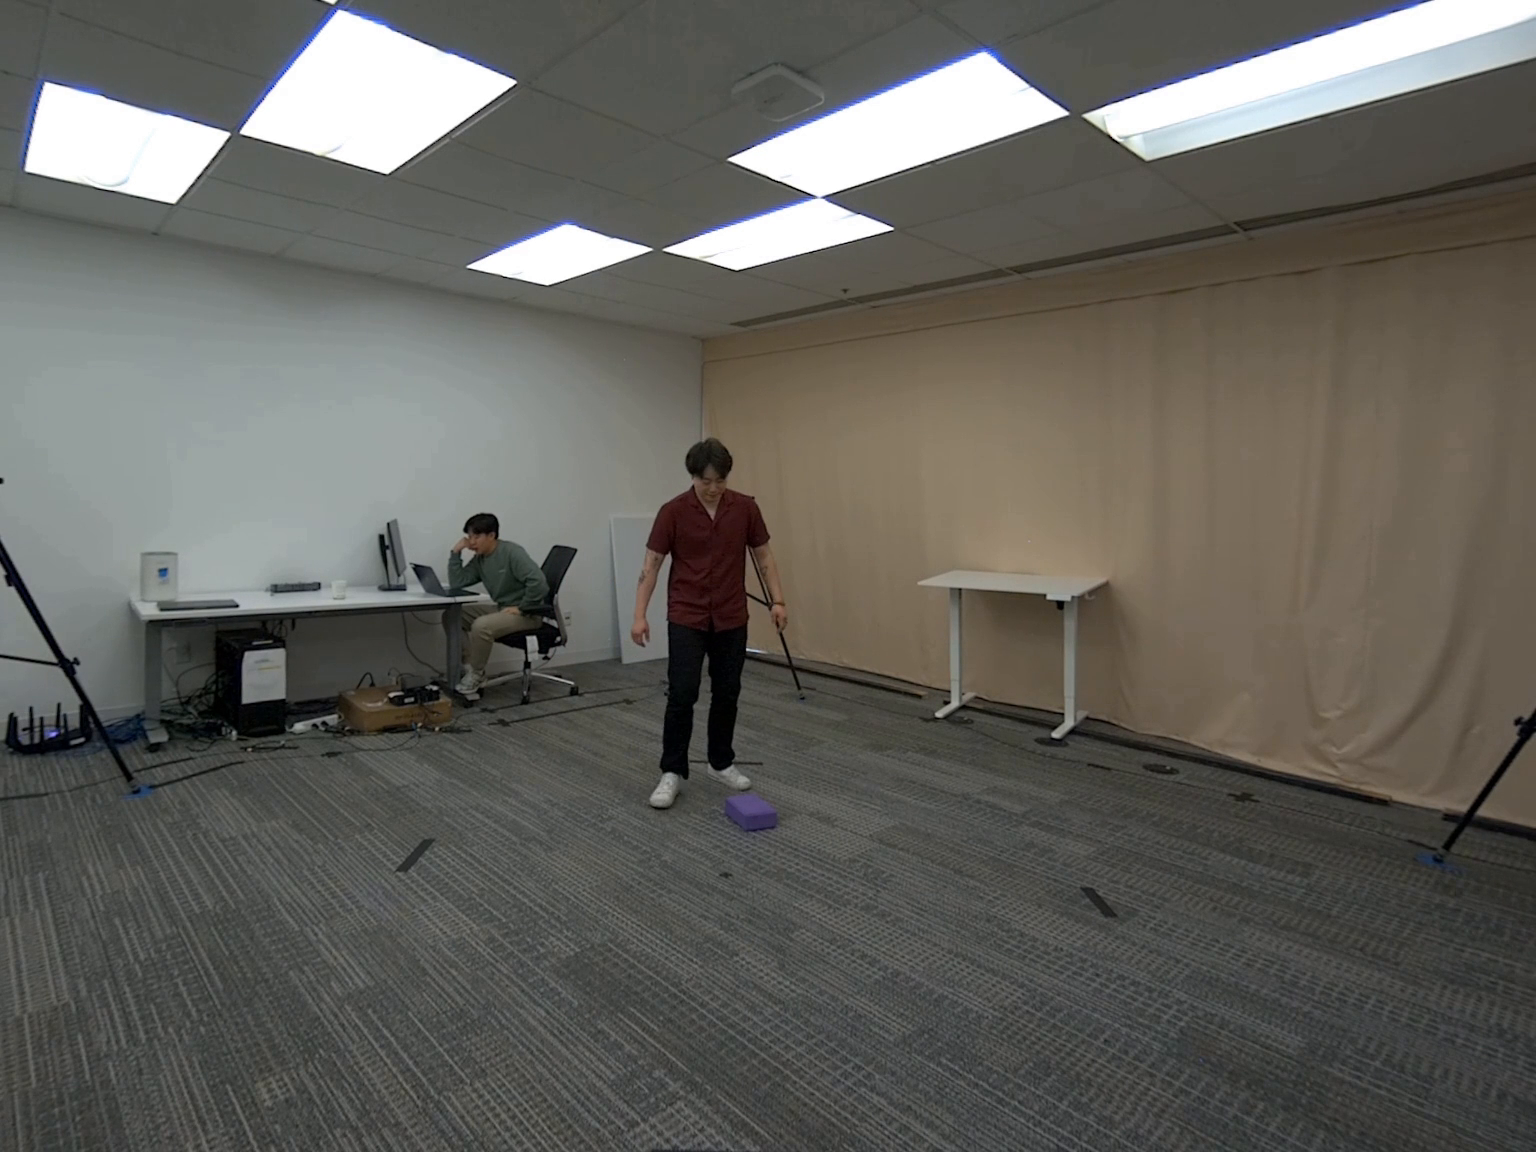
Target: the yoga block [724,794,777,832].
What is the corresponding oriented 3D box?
[{"bbox_3d":[-0.085,1.017,3.640,0.146,0.076,0.234,-1,6,-25],"label":"yoga block"}]
